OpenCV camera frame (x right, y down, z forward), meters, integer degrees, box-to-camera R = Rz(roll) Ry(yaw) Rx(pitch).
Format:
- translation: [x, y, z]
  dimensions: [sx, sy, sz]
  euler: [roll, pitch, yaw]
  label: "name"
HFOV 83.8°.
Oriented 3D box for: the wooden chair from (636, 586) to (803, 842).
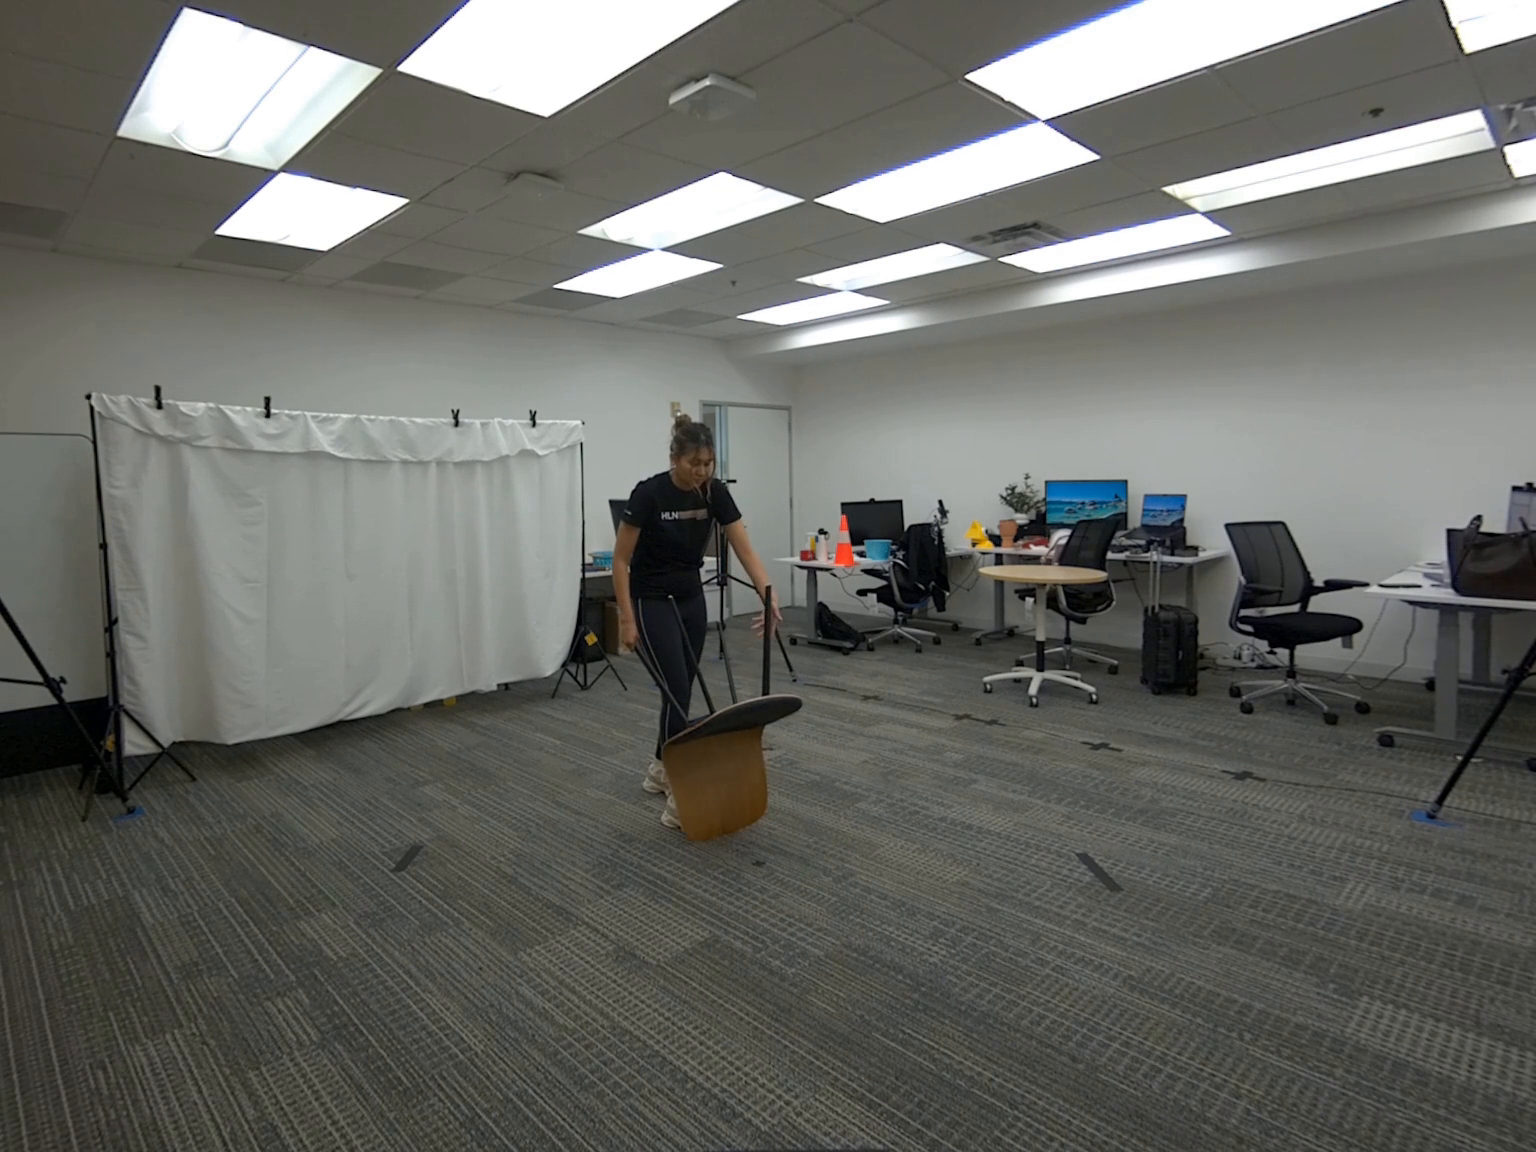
- translation: [-0.161, 0.536, 3.272]
  dimensions: [0.467, 0.892, 0.527]
  euler: [-4, -17, -32]
  label: "wooden chair"
